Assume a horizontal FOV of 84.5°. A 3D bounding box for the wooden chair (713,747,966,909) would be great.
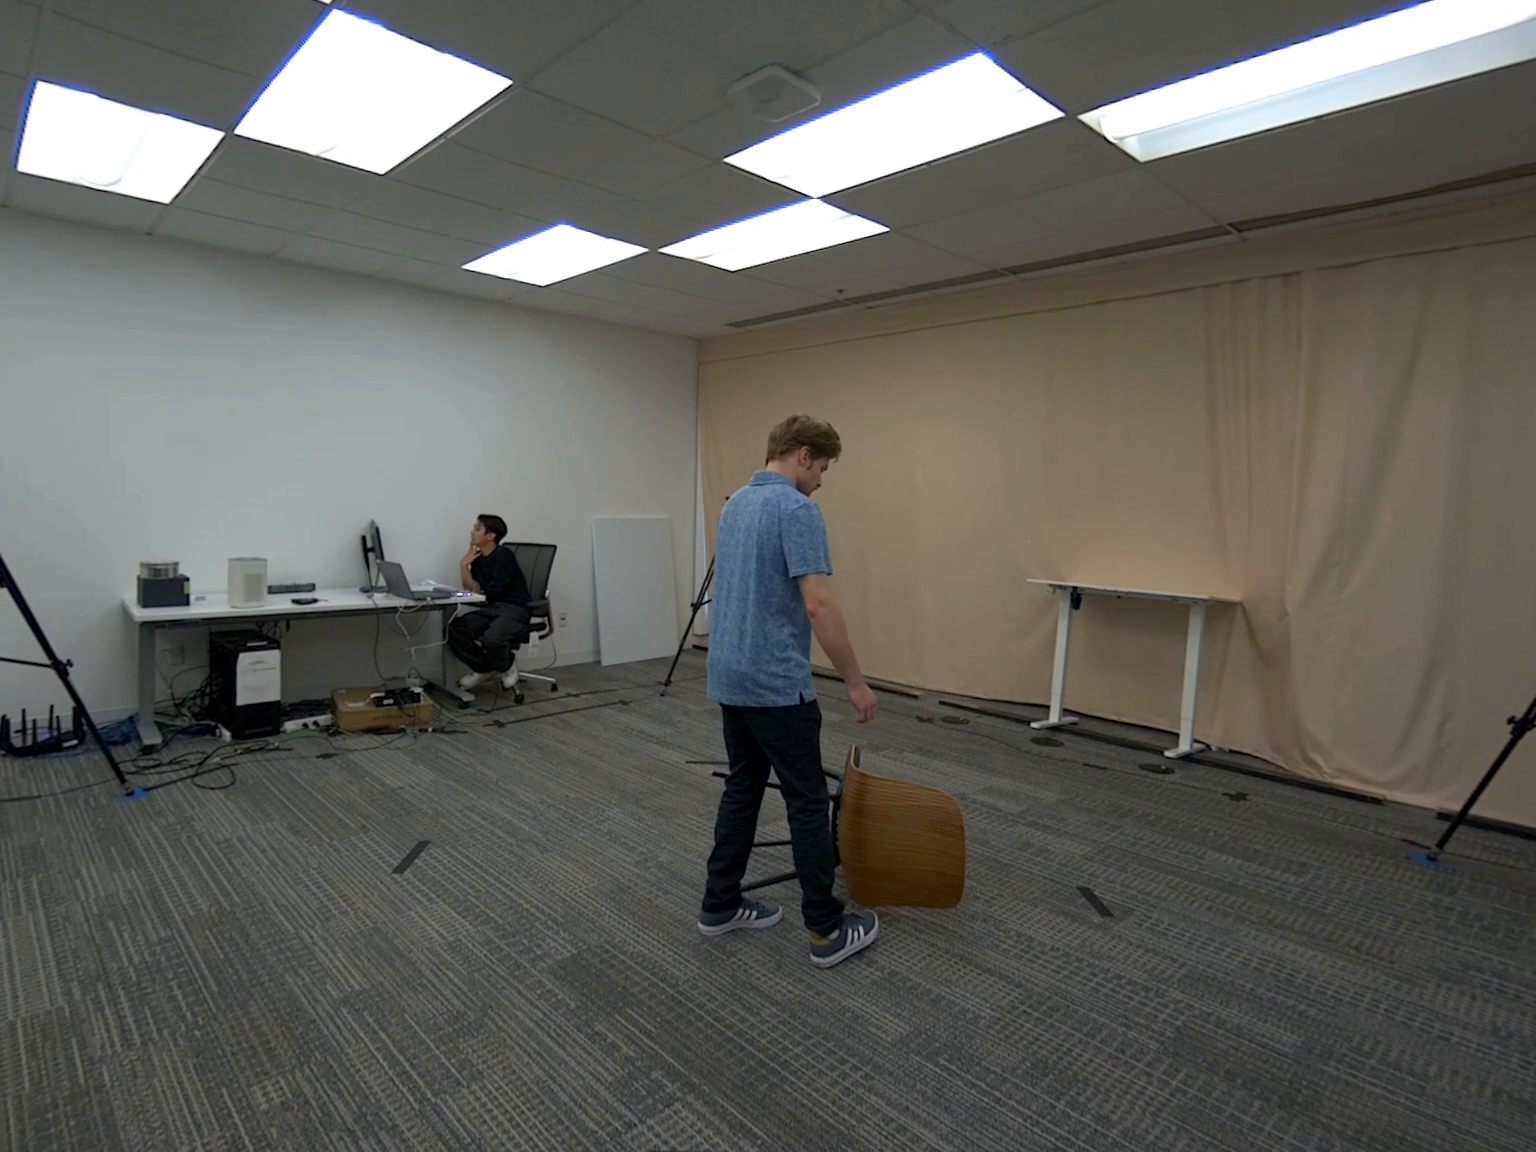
[{"bbox_3d":[0.265,0.890,3.059,0.888,0.477,0.518,1,4,14],"label":"wooden chair"}]
